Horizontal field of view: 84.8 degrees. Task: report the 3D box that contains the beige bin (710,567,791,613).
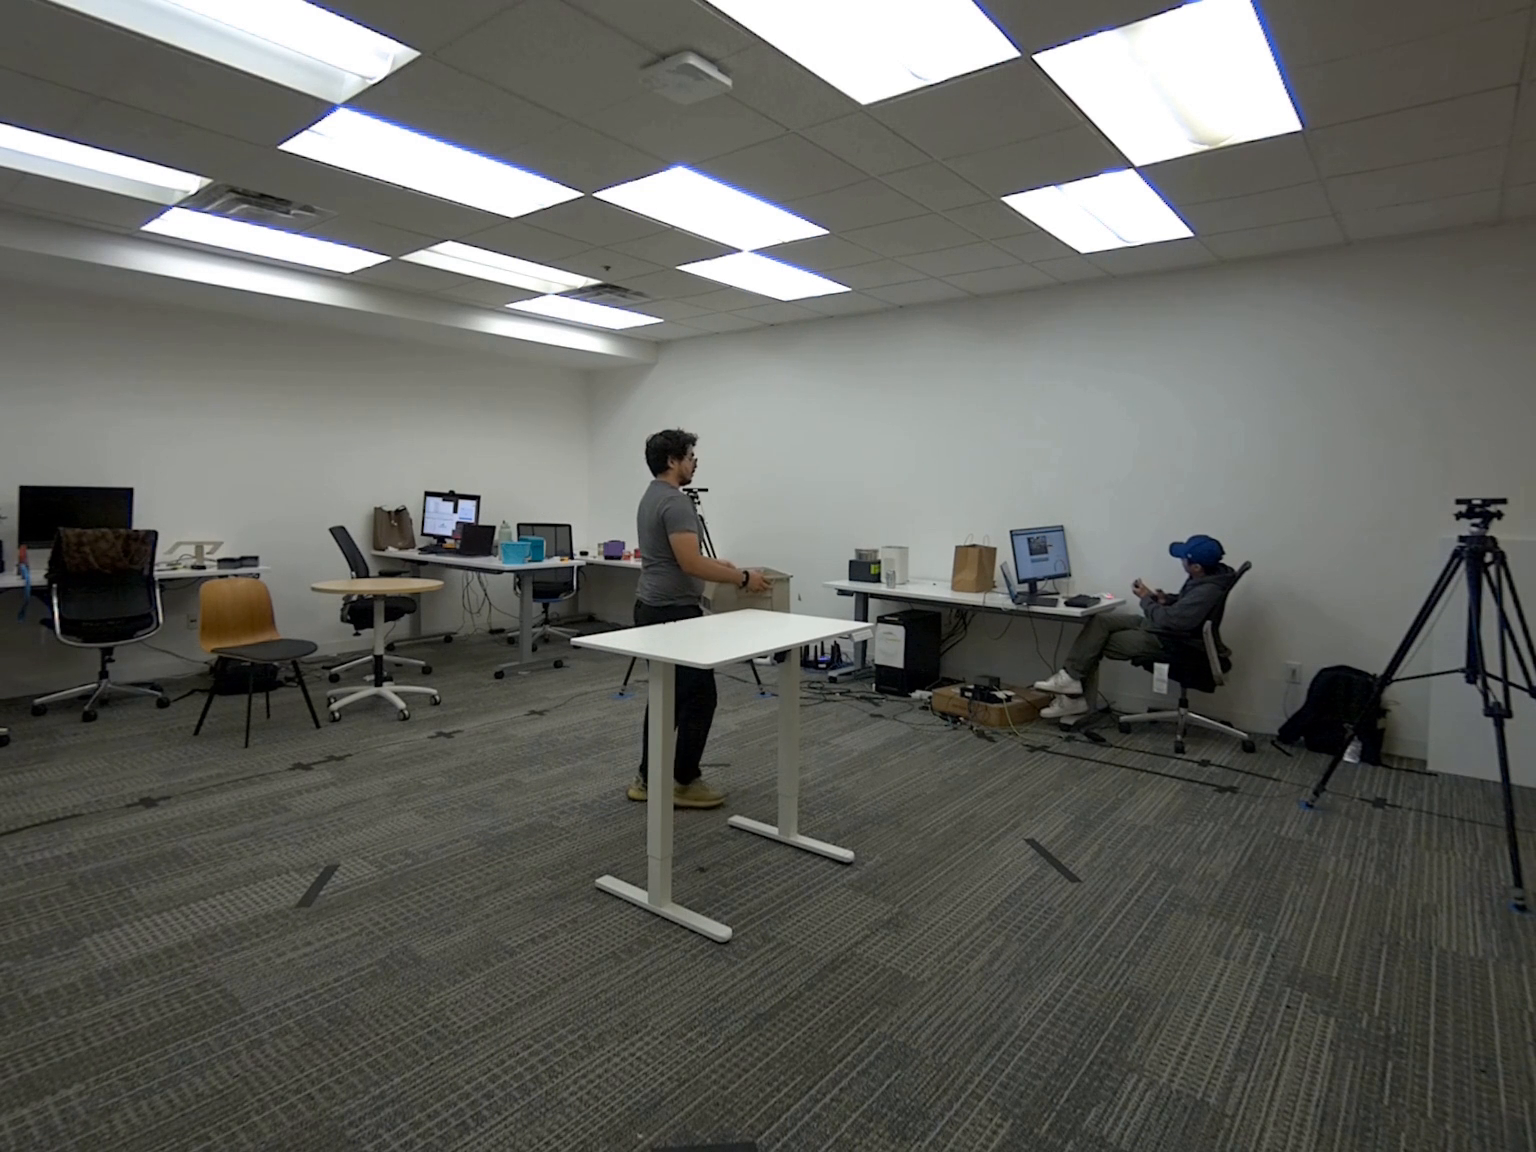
[{"bbox_3d":[-0.141,0.072,3.937,0.372,0.188,0.430,-1,5,-14],"label":"beige bin"}]
